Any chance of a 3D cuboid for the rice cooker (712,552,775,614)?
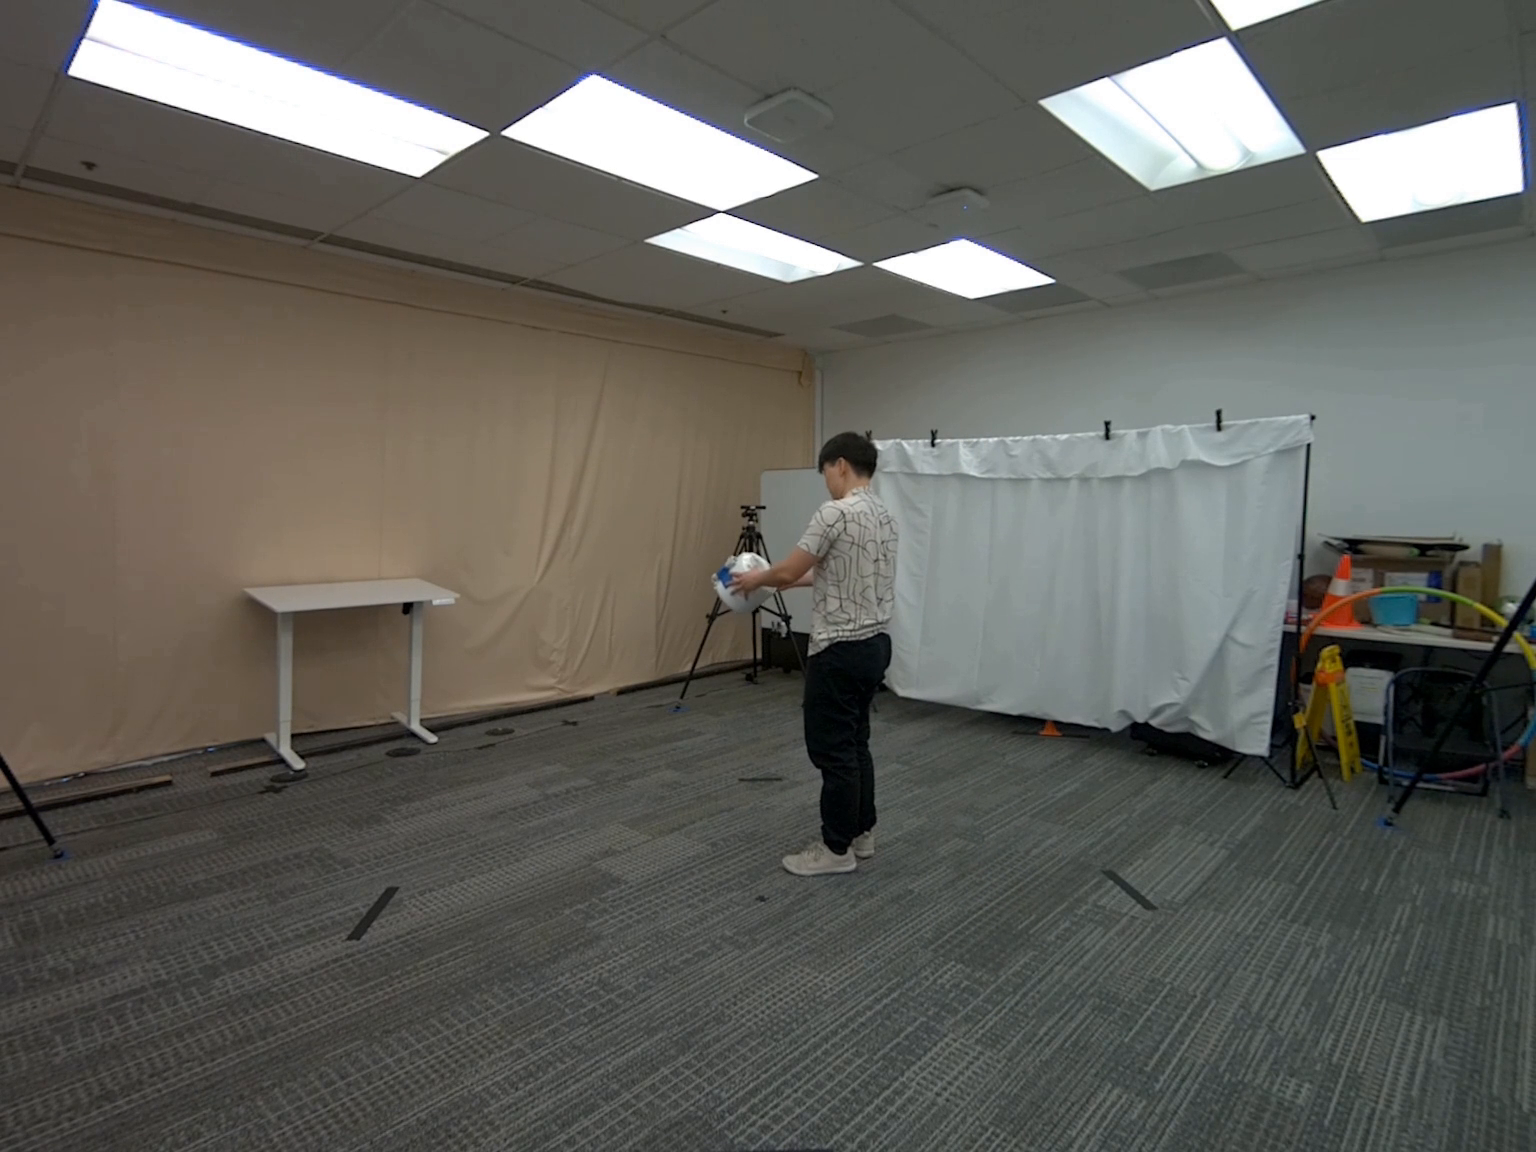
[{"bbox_3d":[-0.077,0.027,3.560,0.235,0.225,0.211,-42,-23,27],"label":"rice cooker"}]
